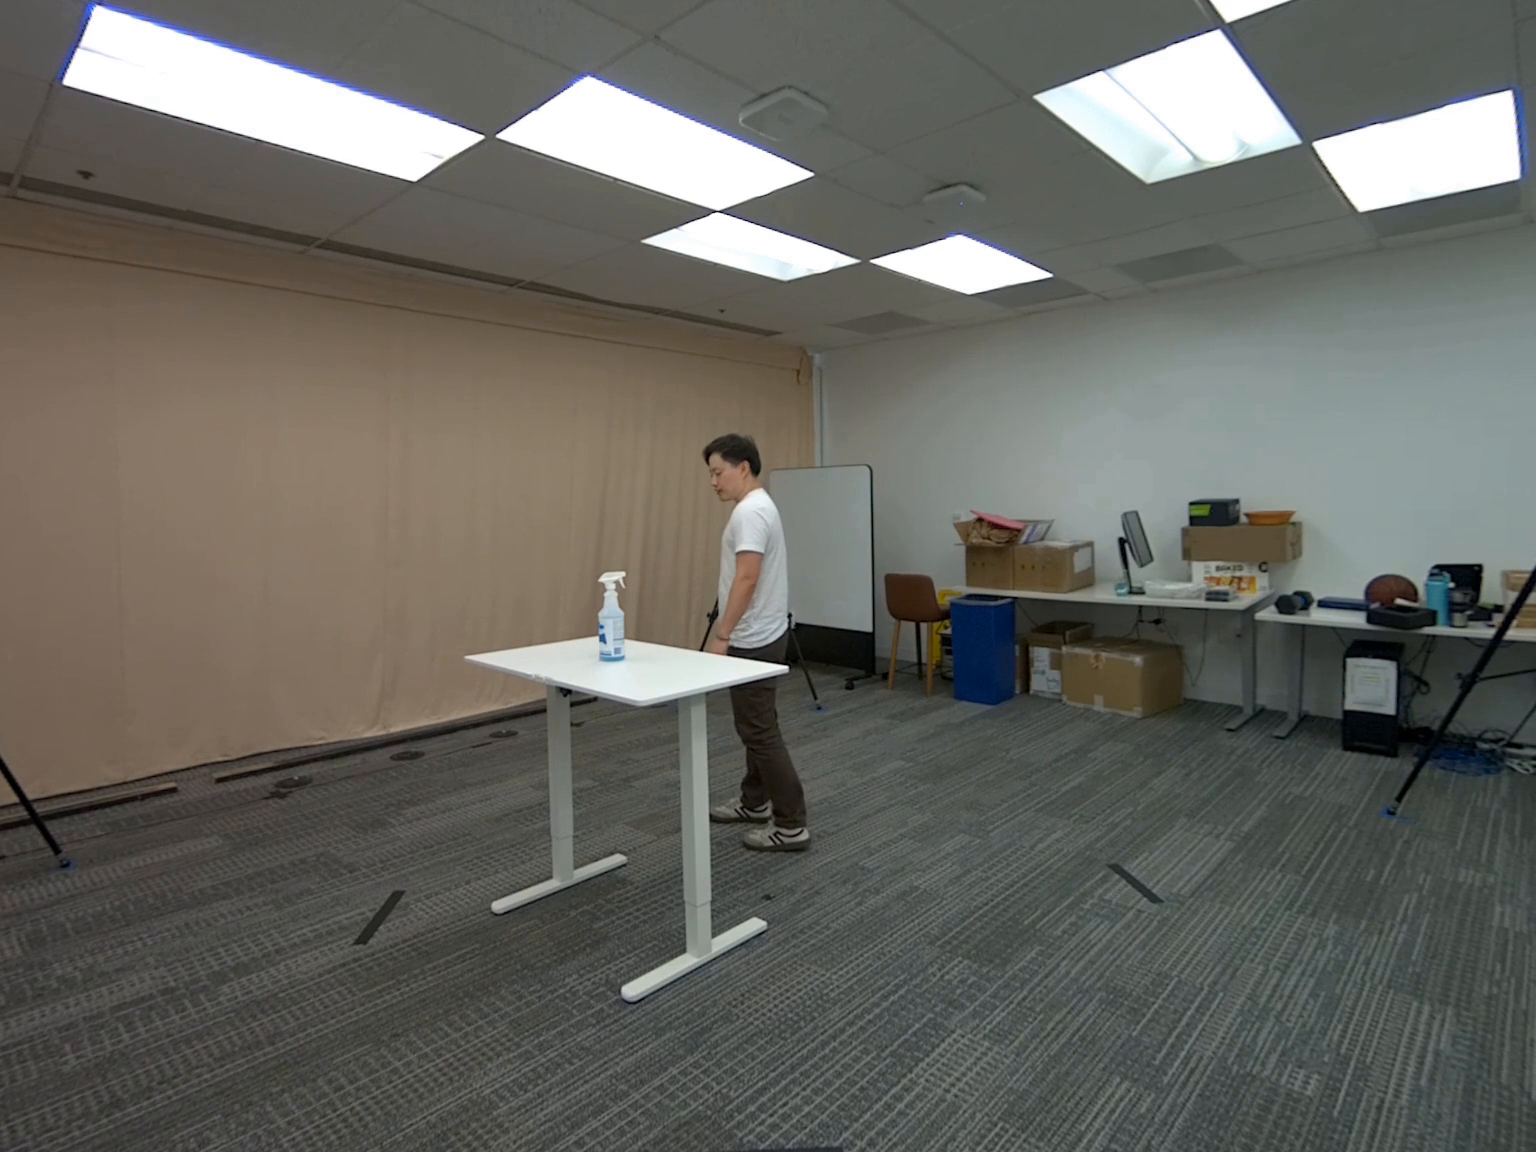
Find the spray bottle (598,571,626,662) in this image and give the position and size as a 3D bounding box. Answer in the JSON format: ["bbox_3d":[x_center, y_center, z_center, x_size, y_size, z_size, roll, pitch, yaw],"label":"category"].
[{"bbox_3d":[-0.526,0.138,2.833,0.092,0.297,0.085,2,2,23],"label":"spray bottle"}]
